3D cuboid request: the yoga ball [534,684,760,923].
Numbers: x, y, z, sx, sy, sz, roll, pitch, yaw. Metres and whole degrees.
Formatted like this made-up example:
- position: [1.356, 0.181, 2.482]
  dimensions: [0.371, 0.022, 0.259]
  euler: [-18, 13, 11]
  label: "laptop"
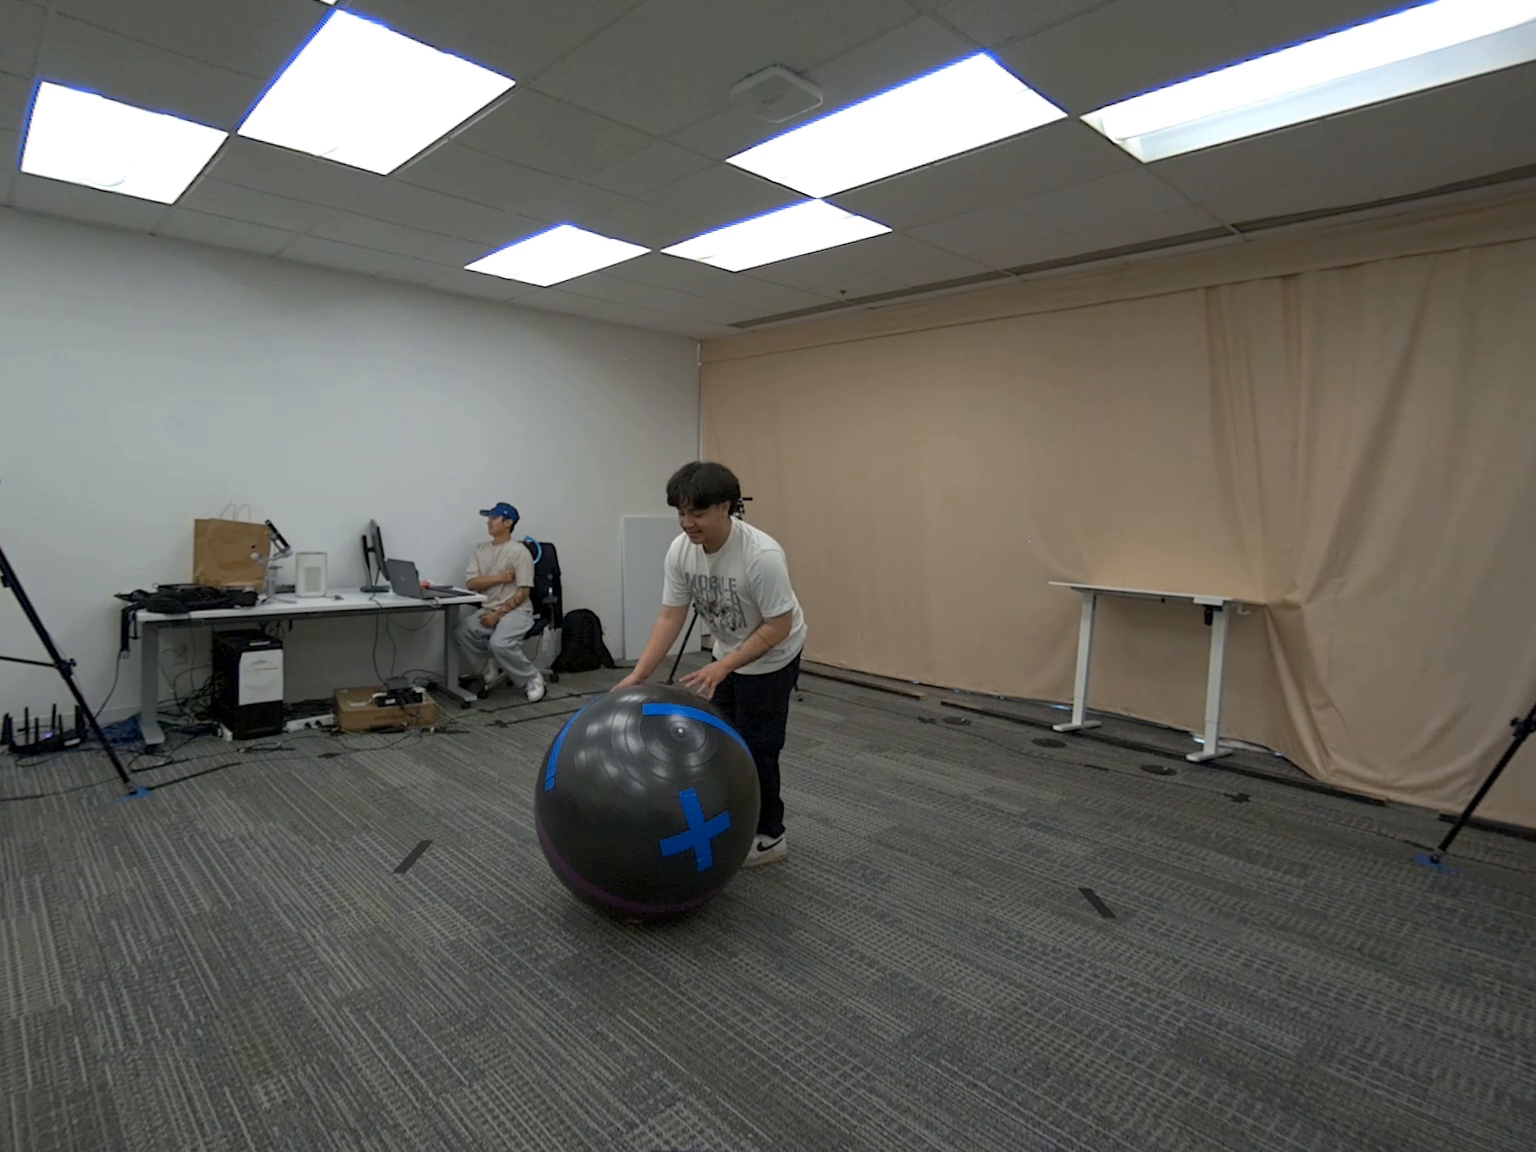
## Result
- position: [-0.411, 0.760, 2.838]
  dimensions: [0.757, 0.756, 0.761]
  euler: [1, 4, -1]
  label: "yoga ball"
